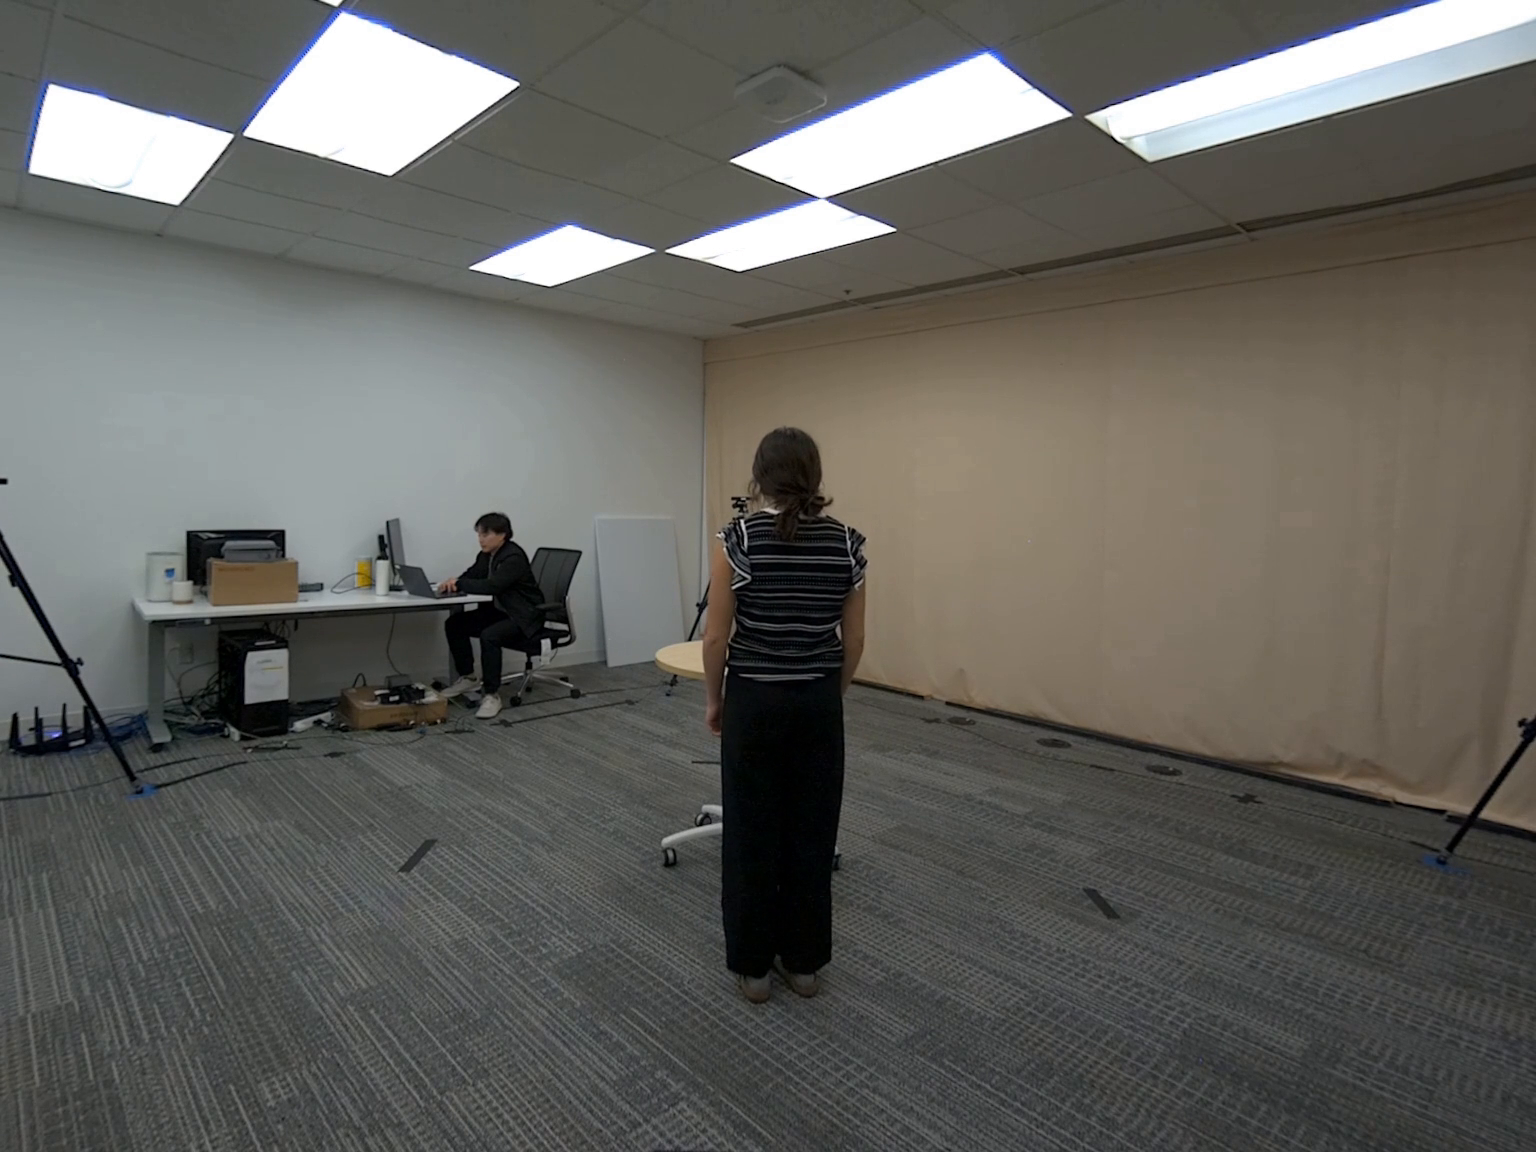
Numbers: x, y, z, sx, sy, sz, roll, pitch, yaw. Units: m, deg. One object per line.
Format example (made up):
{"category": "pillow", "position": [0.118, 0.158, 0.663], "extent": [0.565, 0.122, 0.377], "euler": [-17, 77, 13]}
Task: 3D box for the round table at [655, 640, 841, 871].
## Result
{"category": "round table", "position": [-0.081, 0.704, 3.267], "extent": [0.784, 0.784, 0.788], "euler": [2, 4, -2]}
